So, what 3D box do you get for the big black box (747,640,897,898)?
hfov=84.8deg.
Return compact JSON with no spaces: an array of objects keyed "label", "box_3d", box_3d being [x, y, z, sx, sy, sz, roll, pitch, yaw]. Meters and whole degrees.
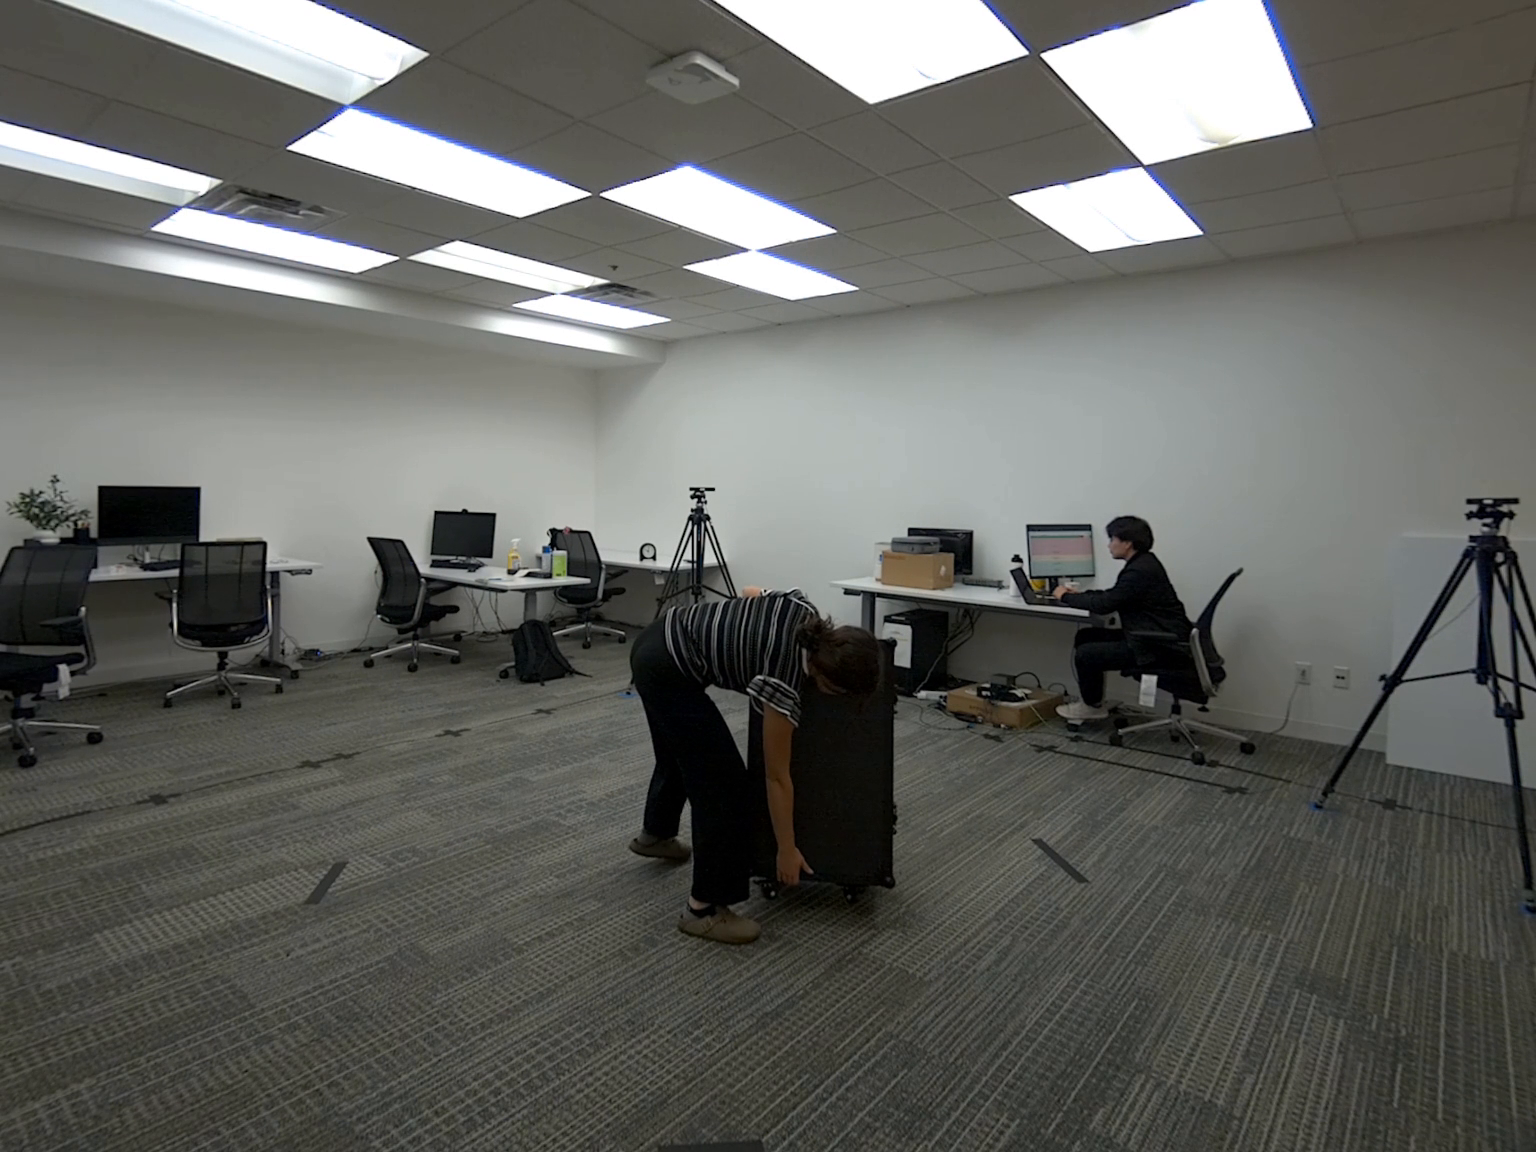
[{"label":"big black box","box_3d":[0.165,0.634,2.967,0.525,0.866,0.392,1,-5,5]}]
